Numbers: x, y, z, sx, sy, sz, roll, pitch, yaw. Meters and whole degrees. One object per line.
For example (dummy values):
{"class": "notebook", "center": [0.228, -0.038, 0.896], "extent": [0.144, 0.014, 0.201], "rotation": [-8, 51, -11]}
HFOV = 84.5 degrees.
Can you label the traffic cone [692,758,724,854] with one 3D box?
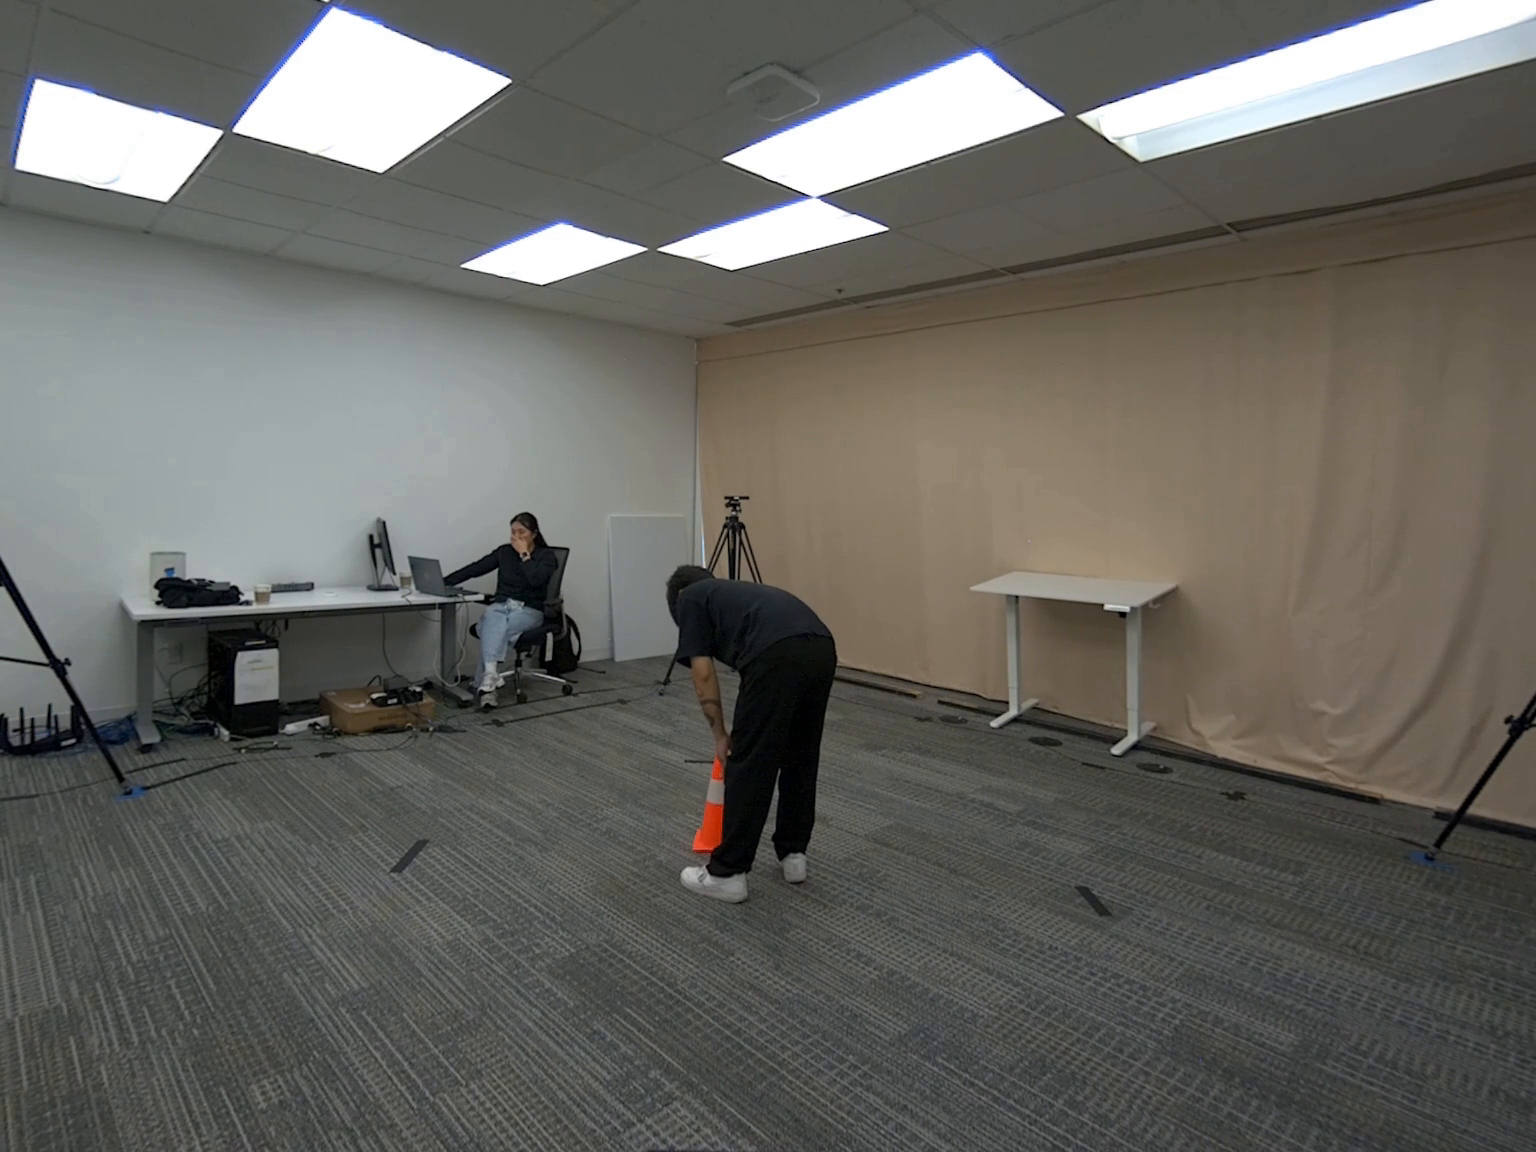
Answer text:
{"class": "traffic cone", "center": [-0.207, 0.876, 3.377], "extent": [0.205, 0.383, 0.203], "rotation": [0, 3, 2]}
